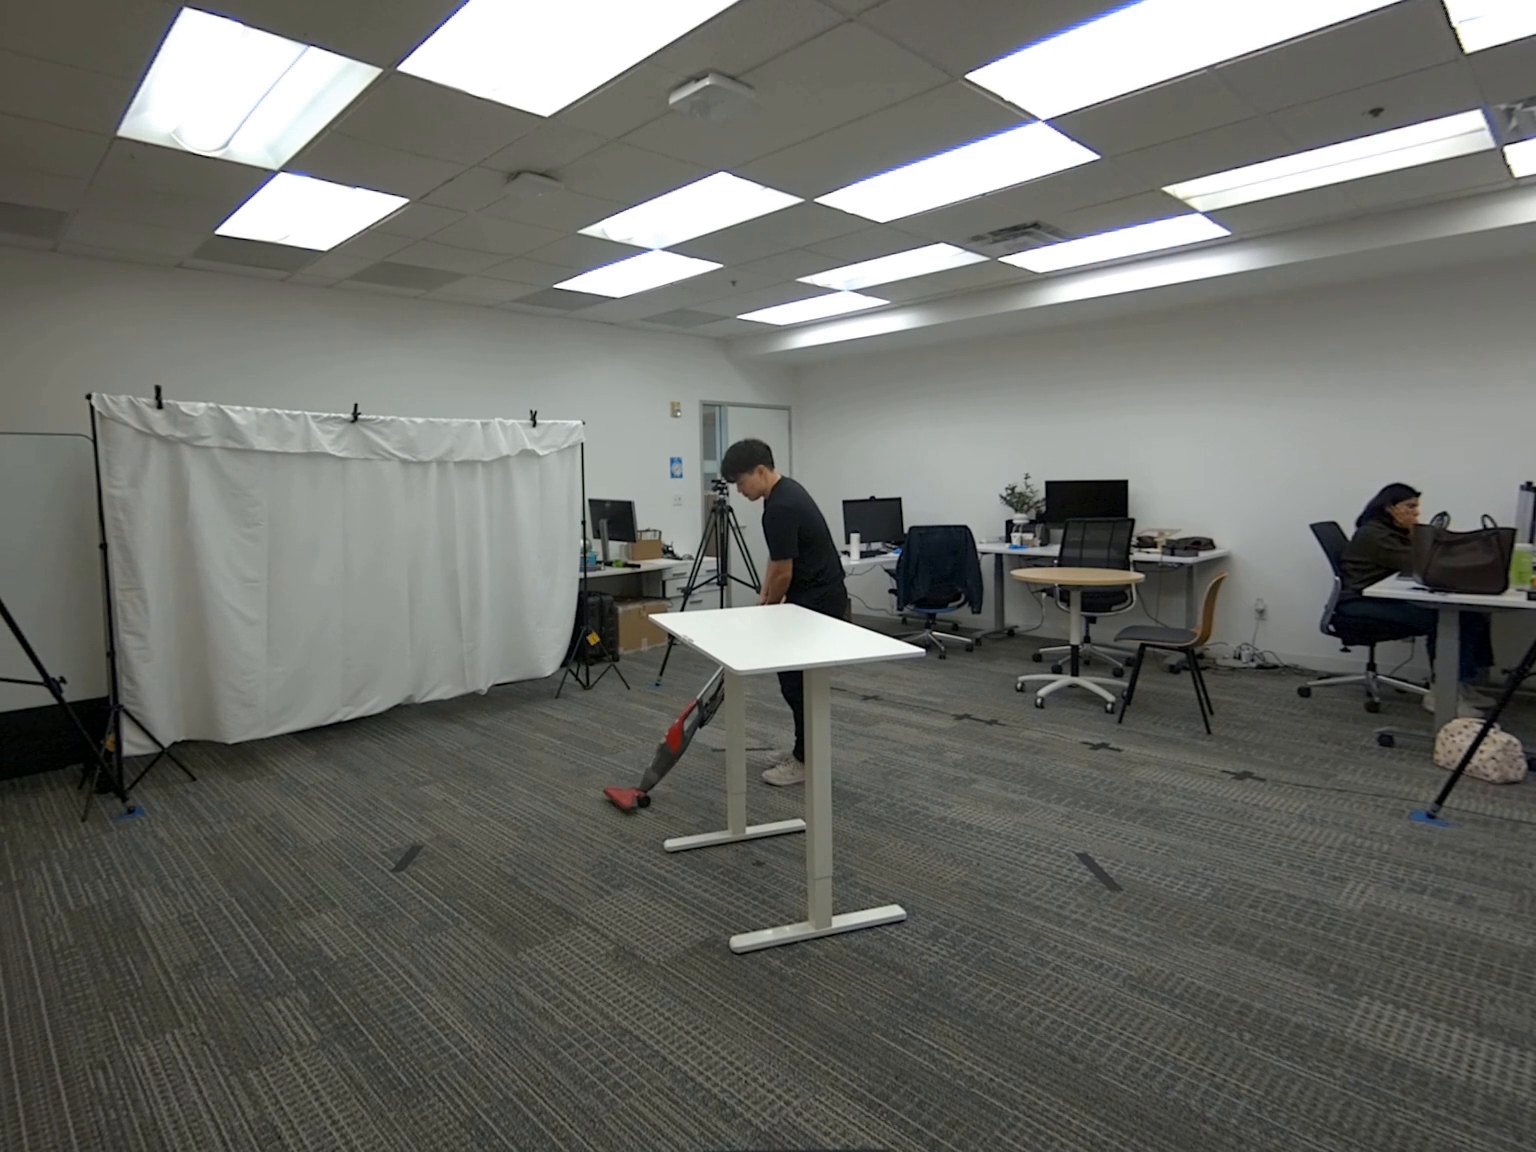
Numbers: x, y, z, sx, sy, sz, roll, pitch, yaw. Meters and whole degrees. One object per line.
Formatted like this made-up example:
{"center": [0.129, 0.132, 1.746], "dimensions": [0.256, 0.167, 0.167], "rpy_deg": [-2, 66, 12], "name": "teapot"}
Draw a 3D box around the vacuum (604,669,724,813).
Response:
{"center": [-0.305, 0.599, 3.869], "dimensions": [1.050, 0.139, 0.260], "rpy_deg": [-51, 29, -19], "name": "vacuum"}
